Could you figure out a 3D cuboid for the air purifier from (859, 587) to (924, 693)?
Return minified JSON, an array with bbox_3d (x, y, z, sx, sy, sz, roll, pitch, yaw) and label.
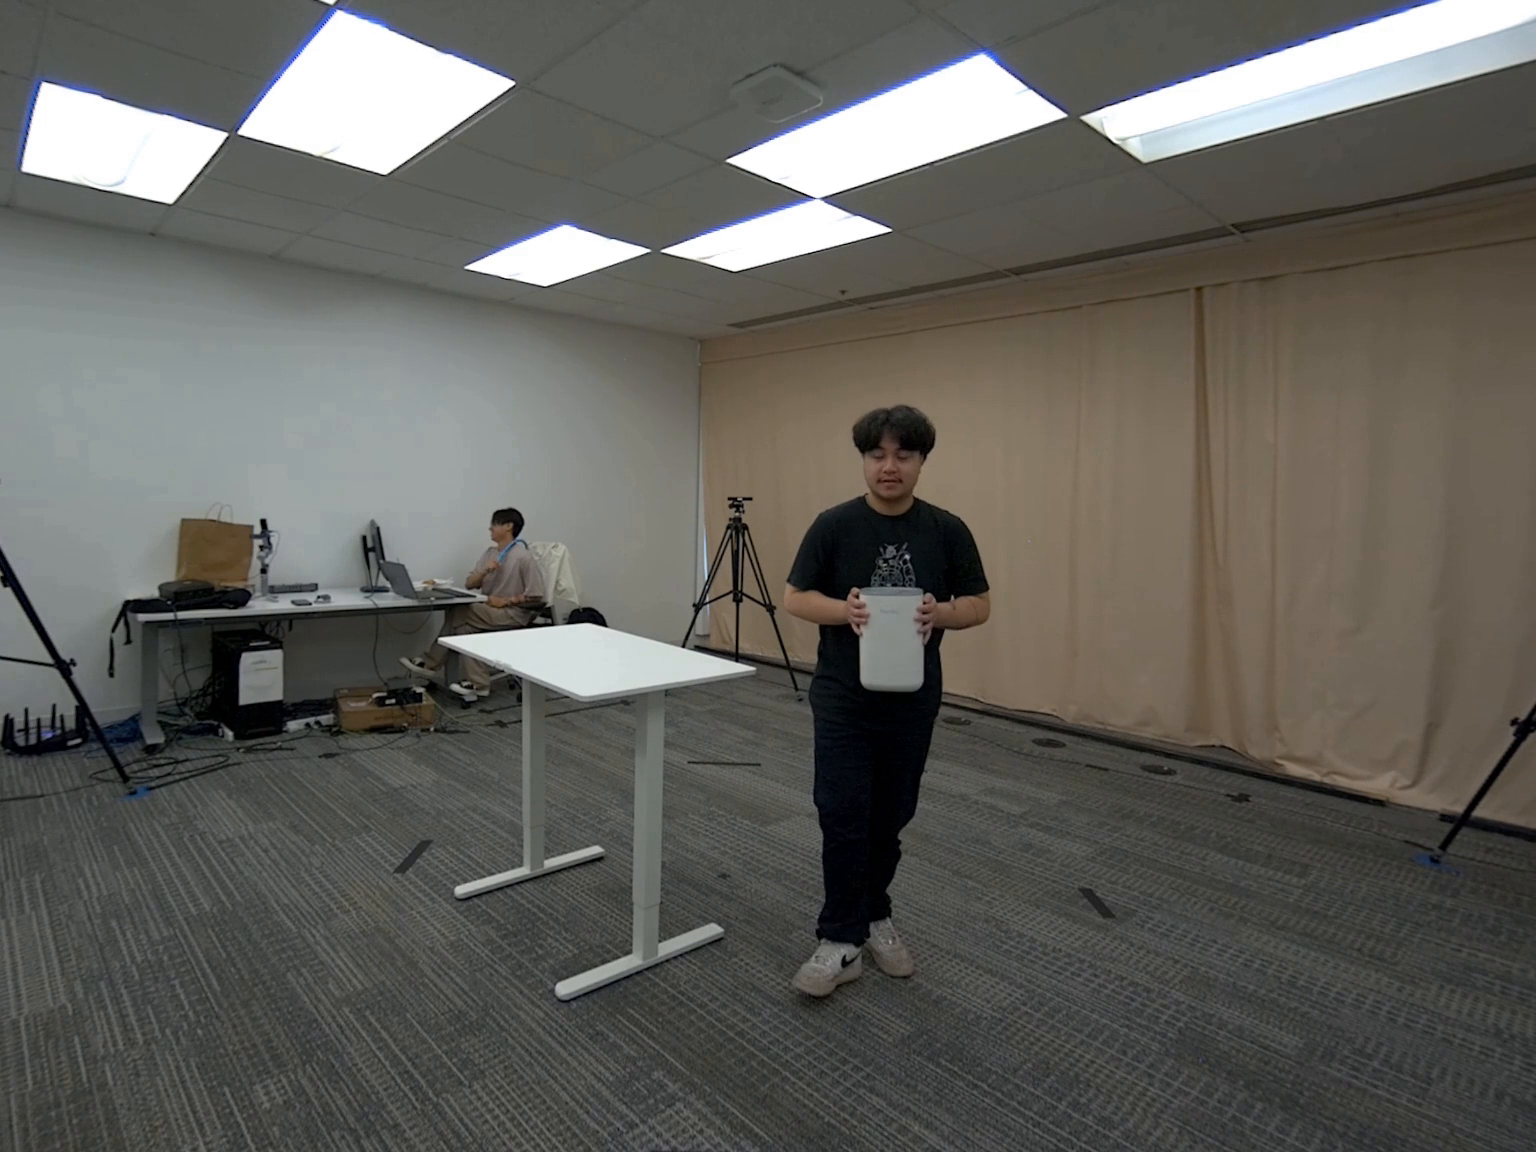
[{"bbox_3d":[0.327,0.174,2.286,0.172,0.265,0.170,2,4,10],"label":"air purifier"}]
